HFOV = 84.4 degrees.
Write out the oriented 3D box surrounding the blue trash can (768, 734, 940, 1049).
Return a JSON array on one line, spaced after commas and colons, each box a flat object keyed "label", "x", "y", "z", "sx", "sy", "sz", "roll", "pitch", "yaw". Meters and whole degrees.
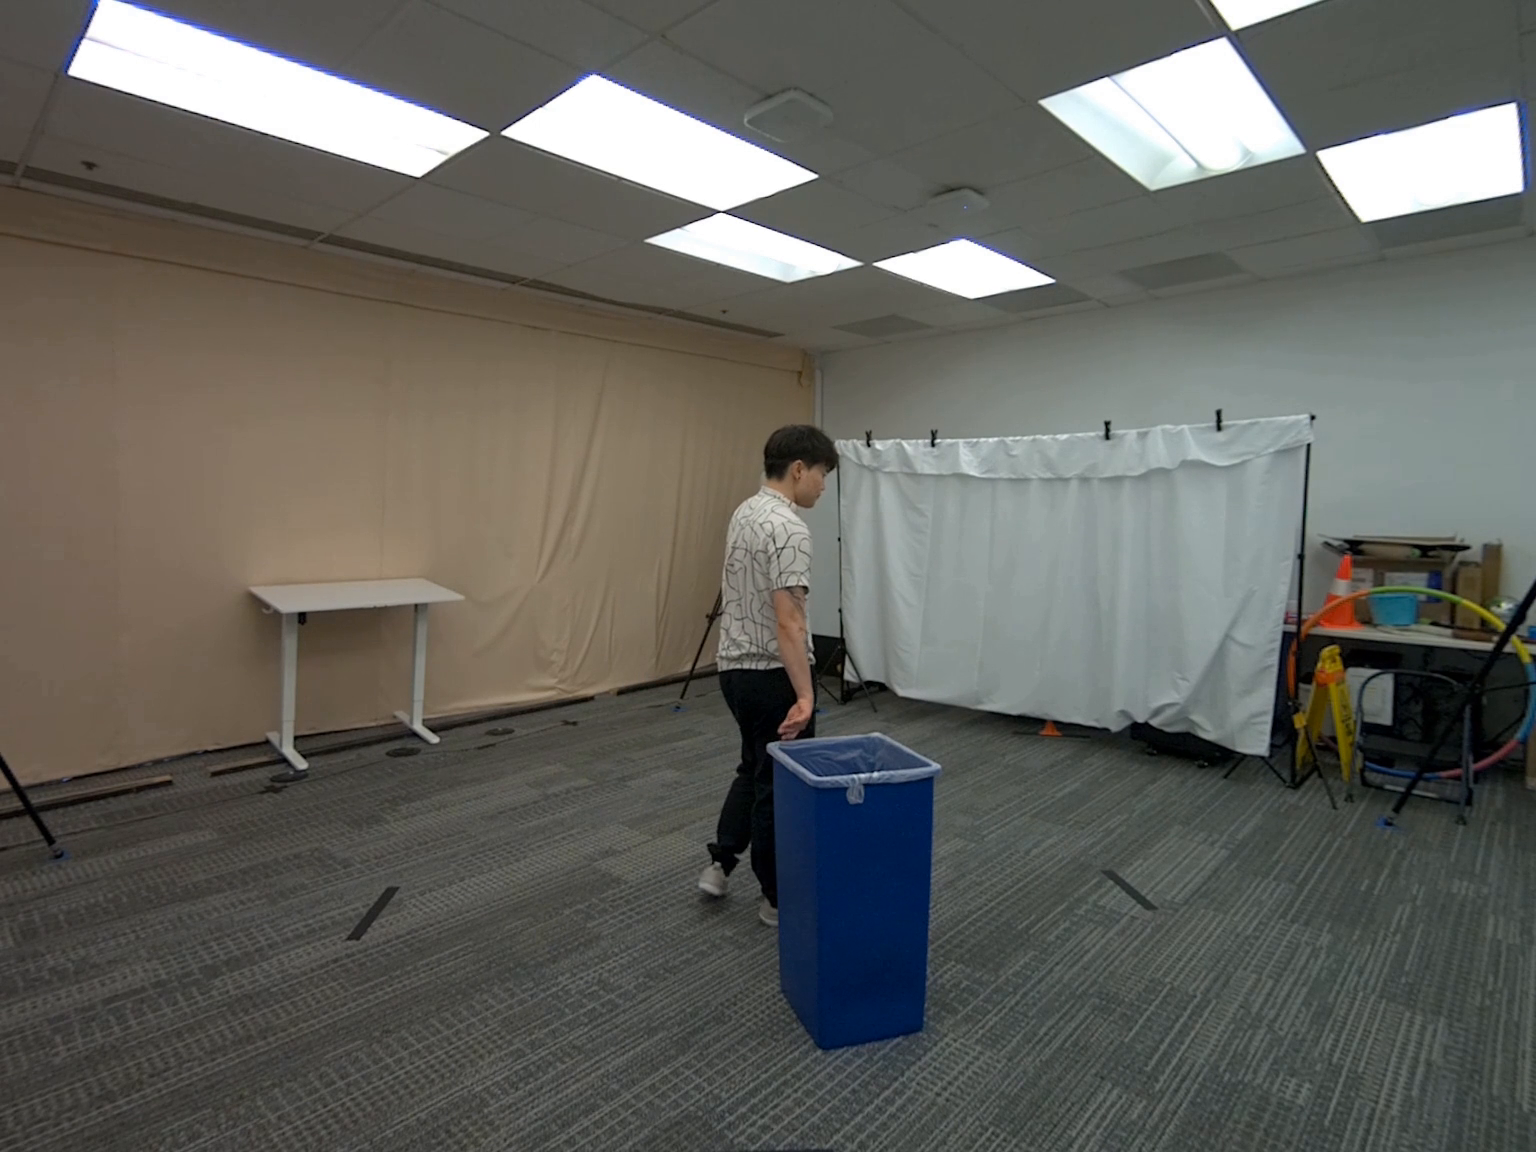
[{"label": "blue trash can", "x": 0.227, "y": 0.843, "z": 2.317, "sx": 0.371, "sy": 0.712, "sz": 0.382, "roll": -1, "pitch": 3, "yaw": -19}]
